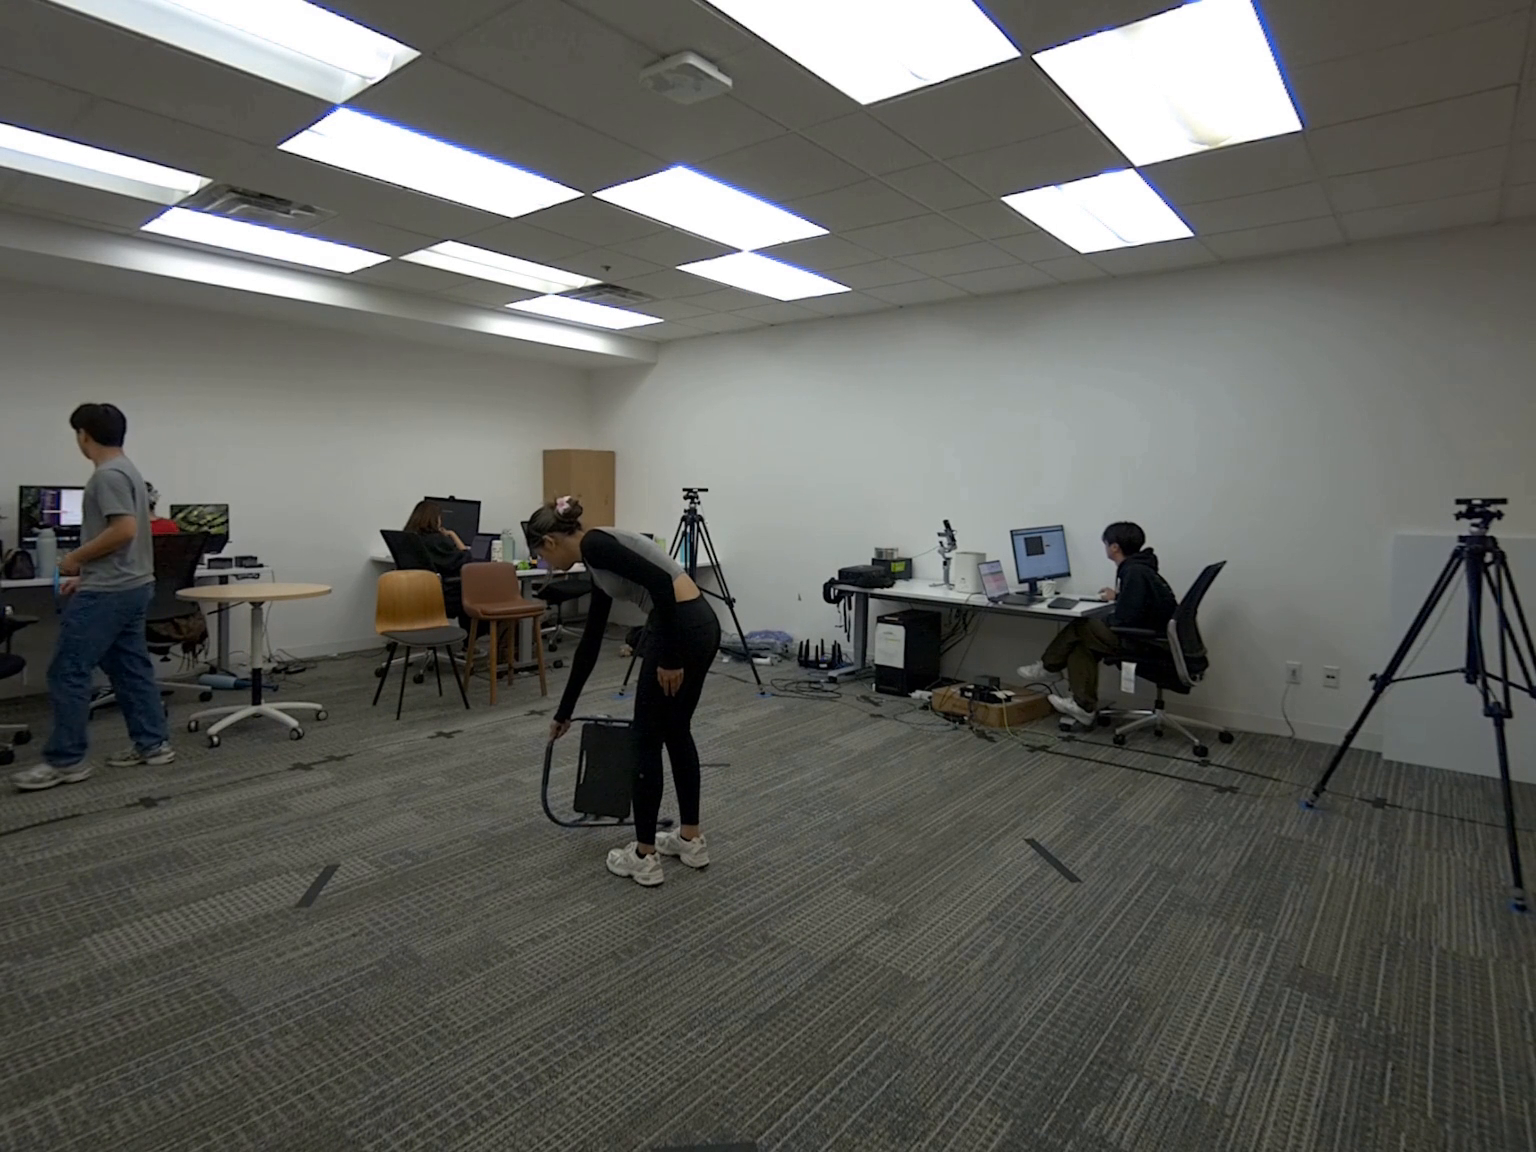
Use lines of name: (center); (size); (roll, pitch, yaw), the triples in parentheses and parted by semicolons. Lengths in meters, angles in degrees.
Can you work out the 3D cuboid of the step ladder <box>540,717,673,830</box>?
step ladder: (-0.649, 0.760, 3.343); (0.357, 0.435, 0.587); (-1, -12, 20)
